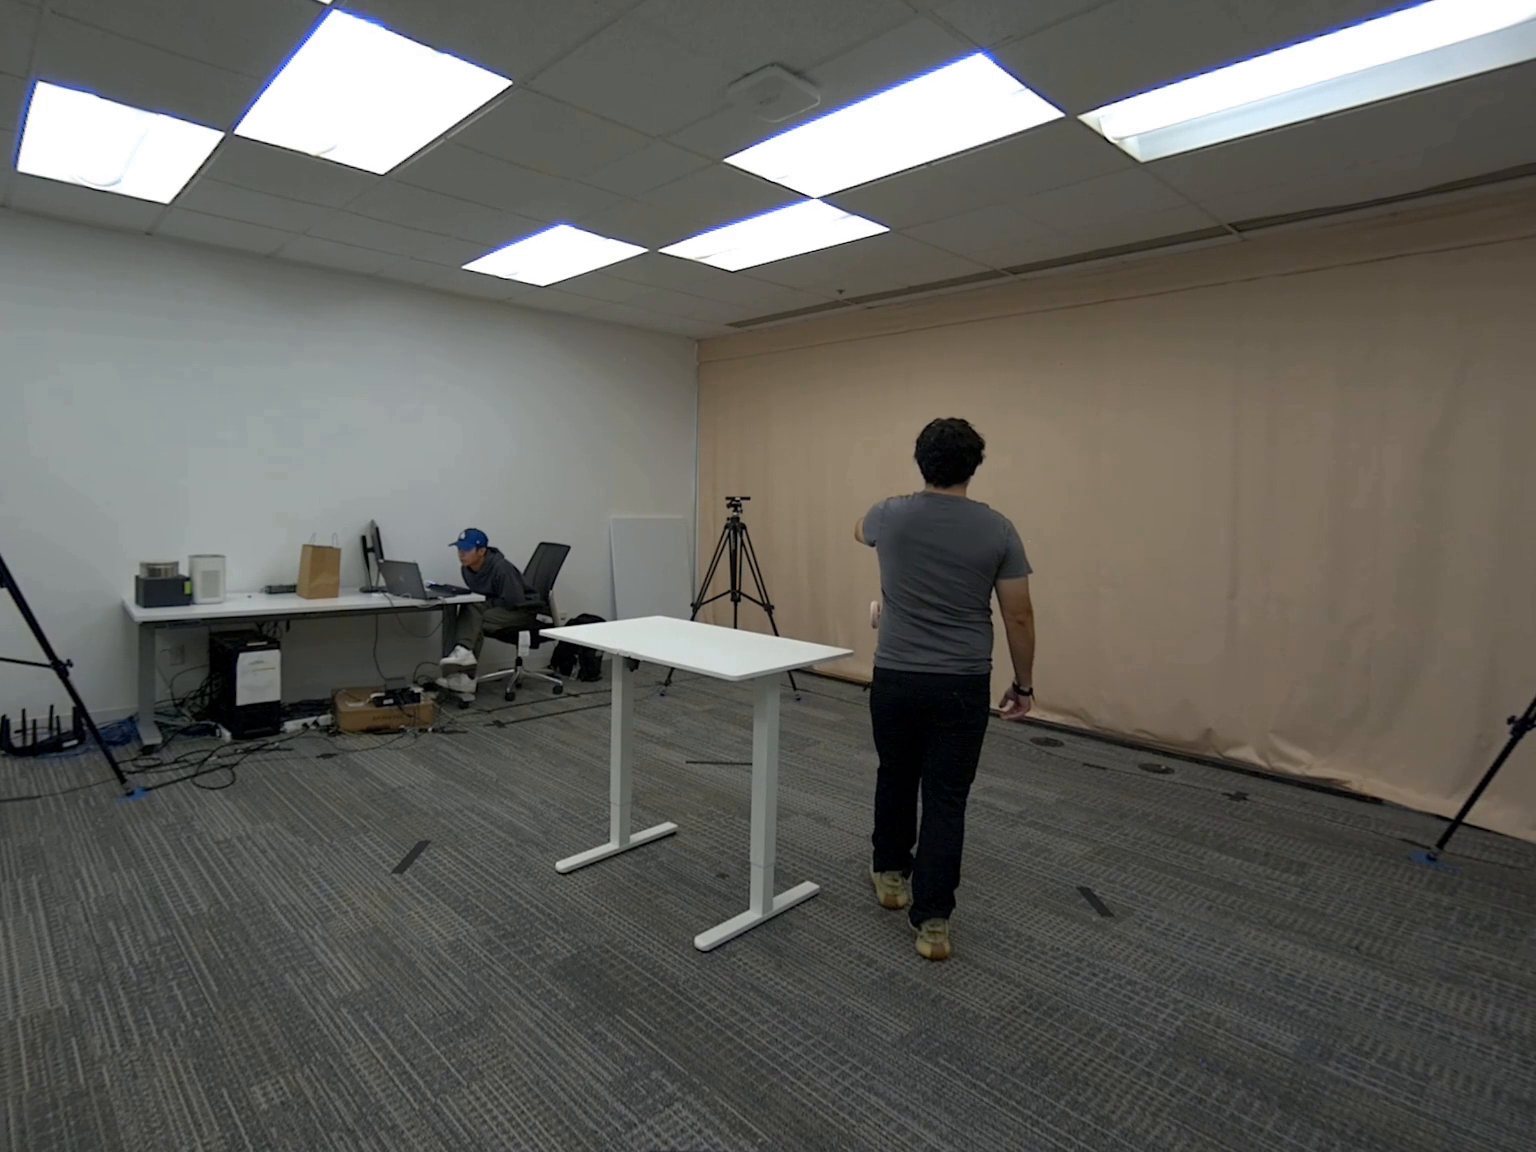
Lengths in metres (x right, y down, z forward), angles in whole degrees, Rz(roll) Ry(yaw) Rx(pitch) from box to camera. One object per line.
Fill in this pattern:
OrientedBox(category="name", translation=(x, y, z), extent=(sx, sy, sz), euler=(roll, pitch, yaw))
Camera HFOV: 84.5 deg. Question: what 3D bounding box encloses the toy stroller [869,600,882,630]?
OrientedBox(category="toy stroller", translation=(0.569, -0.007, 3.357), extent=(0.286, 0.533, 0.337), euler=(1, 6, 23))
